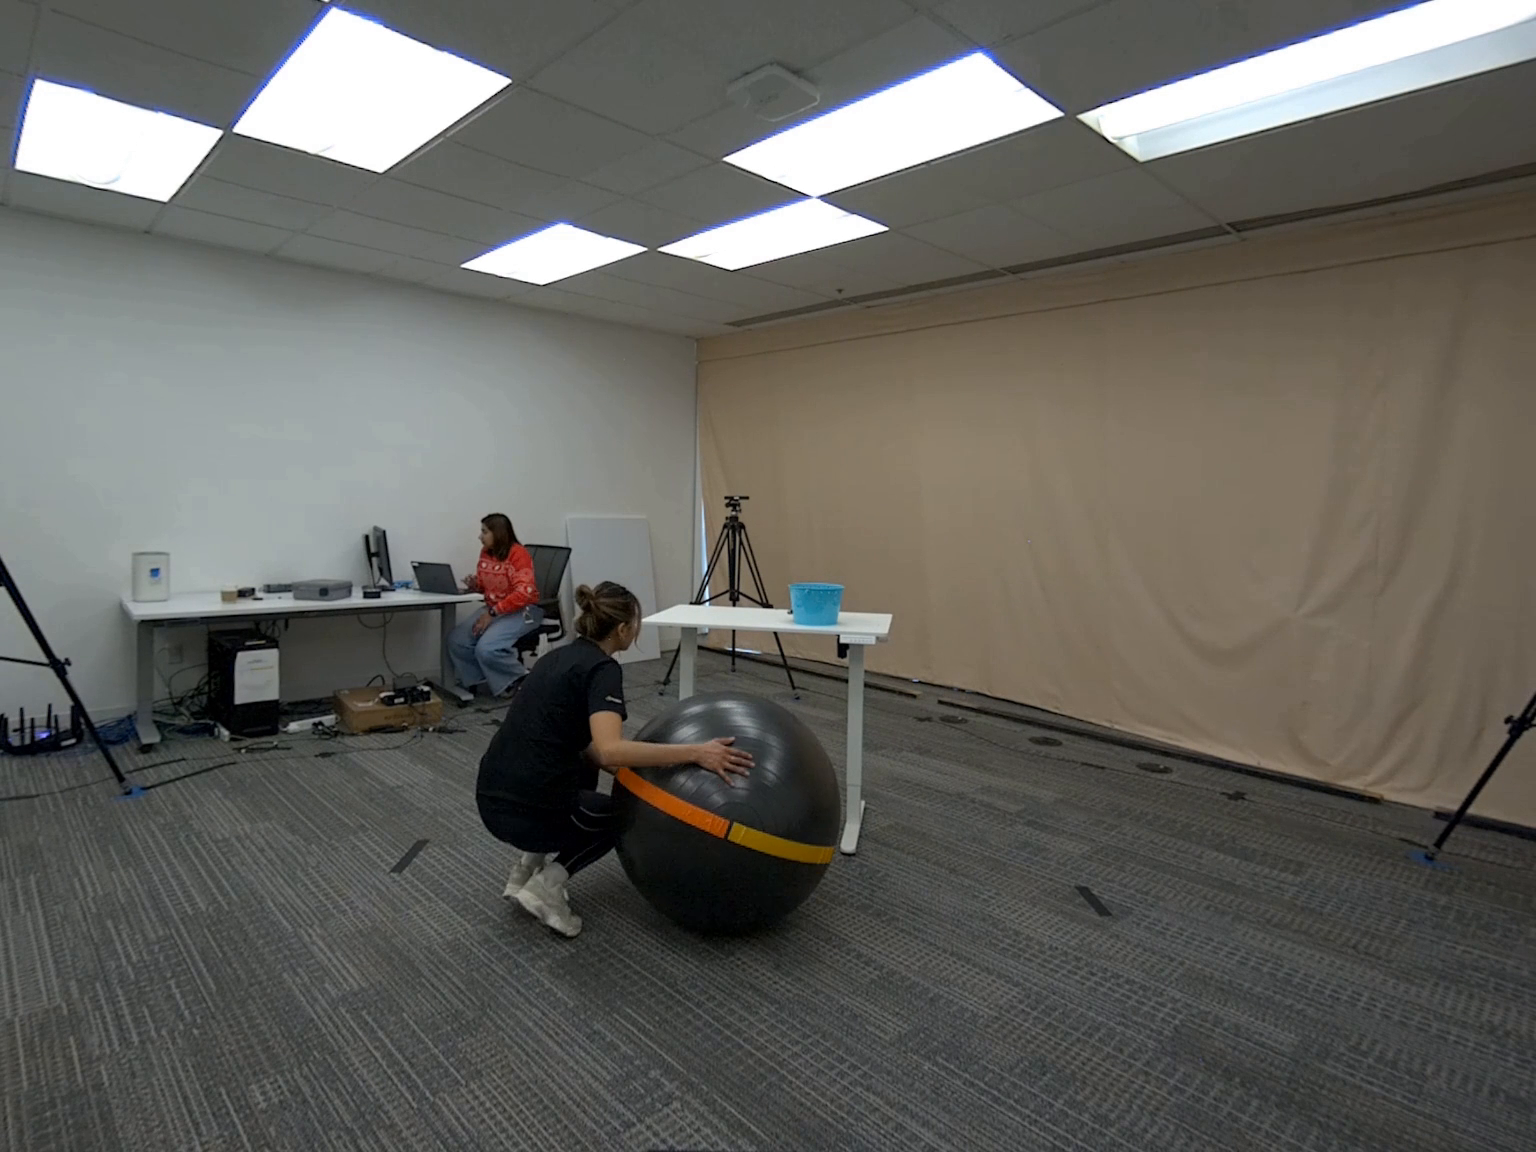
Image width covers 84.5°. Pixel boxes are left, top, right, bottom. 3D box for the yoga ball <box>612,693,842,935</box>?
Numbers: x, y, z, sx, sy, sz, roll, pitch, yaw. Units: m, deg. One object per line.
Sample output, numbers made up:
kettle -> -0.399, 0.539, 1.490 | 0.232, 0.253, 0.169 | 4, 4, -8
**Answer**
yoga ball -> -0.143, 0.780, 2.778 | 0.757, 0.756, 0.761 | 1, 4, -1
